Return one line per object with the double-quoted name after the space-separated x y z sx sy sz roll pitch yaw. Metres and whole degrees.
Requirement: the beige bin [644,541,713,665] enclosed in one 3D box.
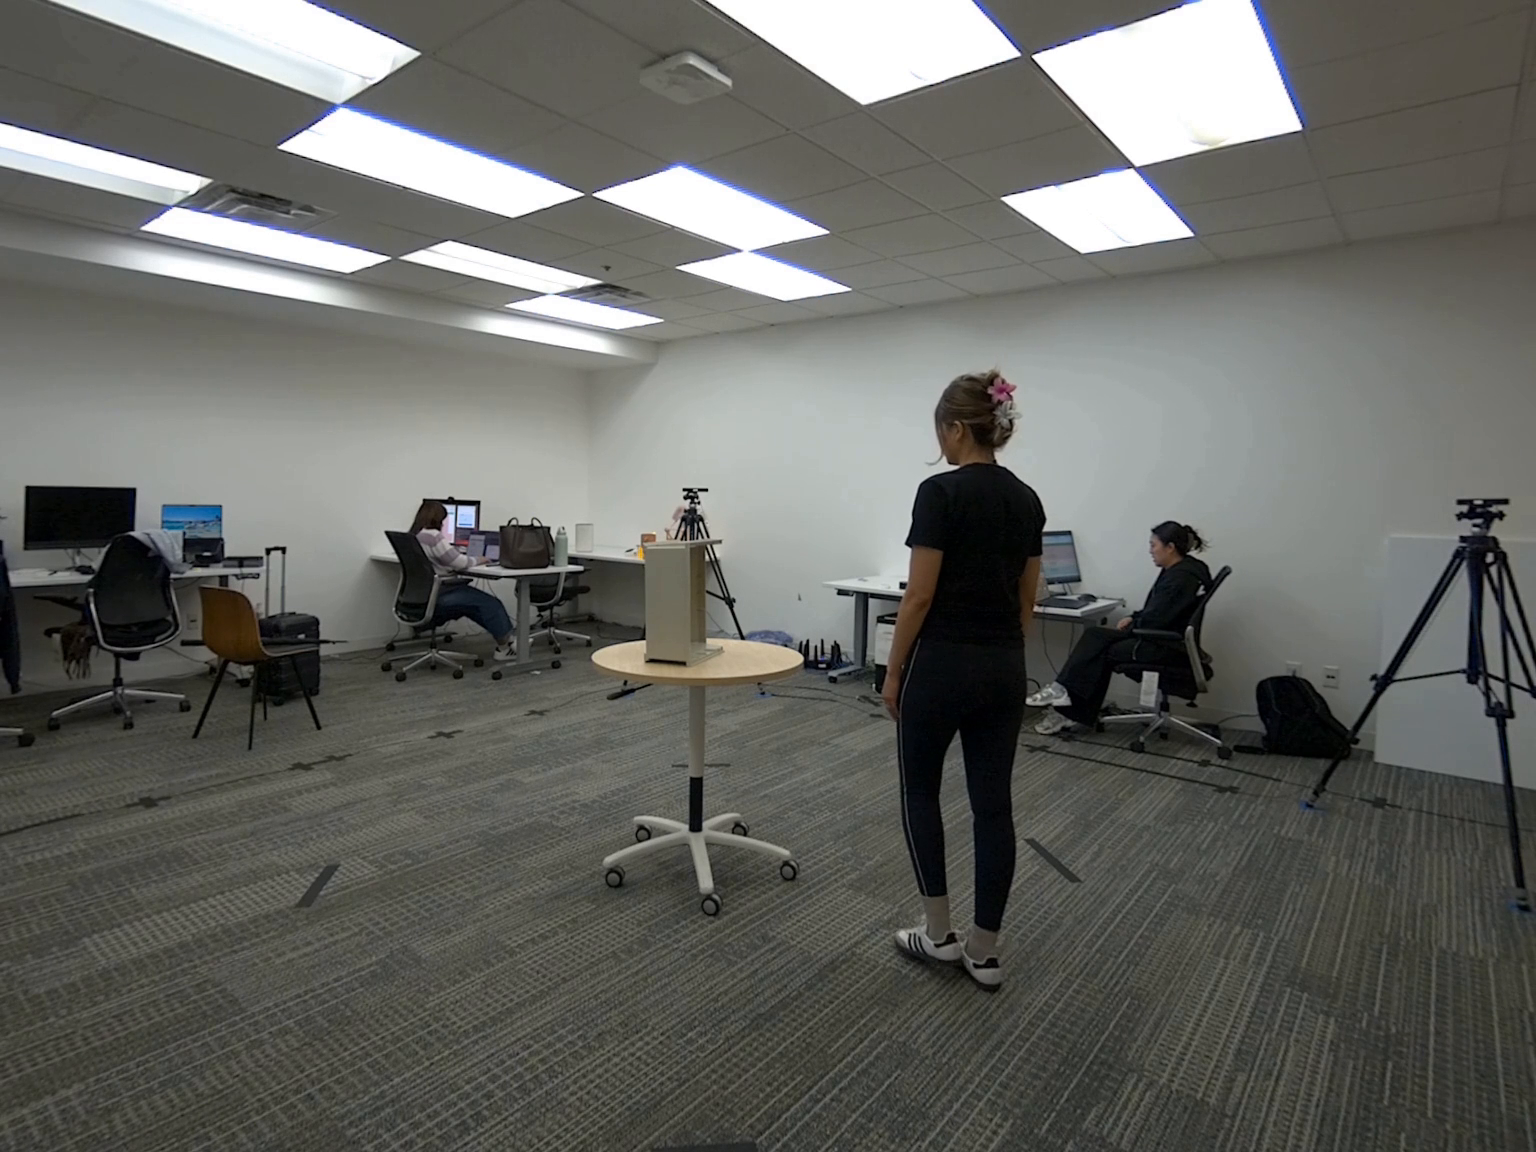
-0.300 0.078 3.072 0.193 0.421 0.370 1 3 20 "beige bin"
